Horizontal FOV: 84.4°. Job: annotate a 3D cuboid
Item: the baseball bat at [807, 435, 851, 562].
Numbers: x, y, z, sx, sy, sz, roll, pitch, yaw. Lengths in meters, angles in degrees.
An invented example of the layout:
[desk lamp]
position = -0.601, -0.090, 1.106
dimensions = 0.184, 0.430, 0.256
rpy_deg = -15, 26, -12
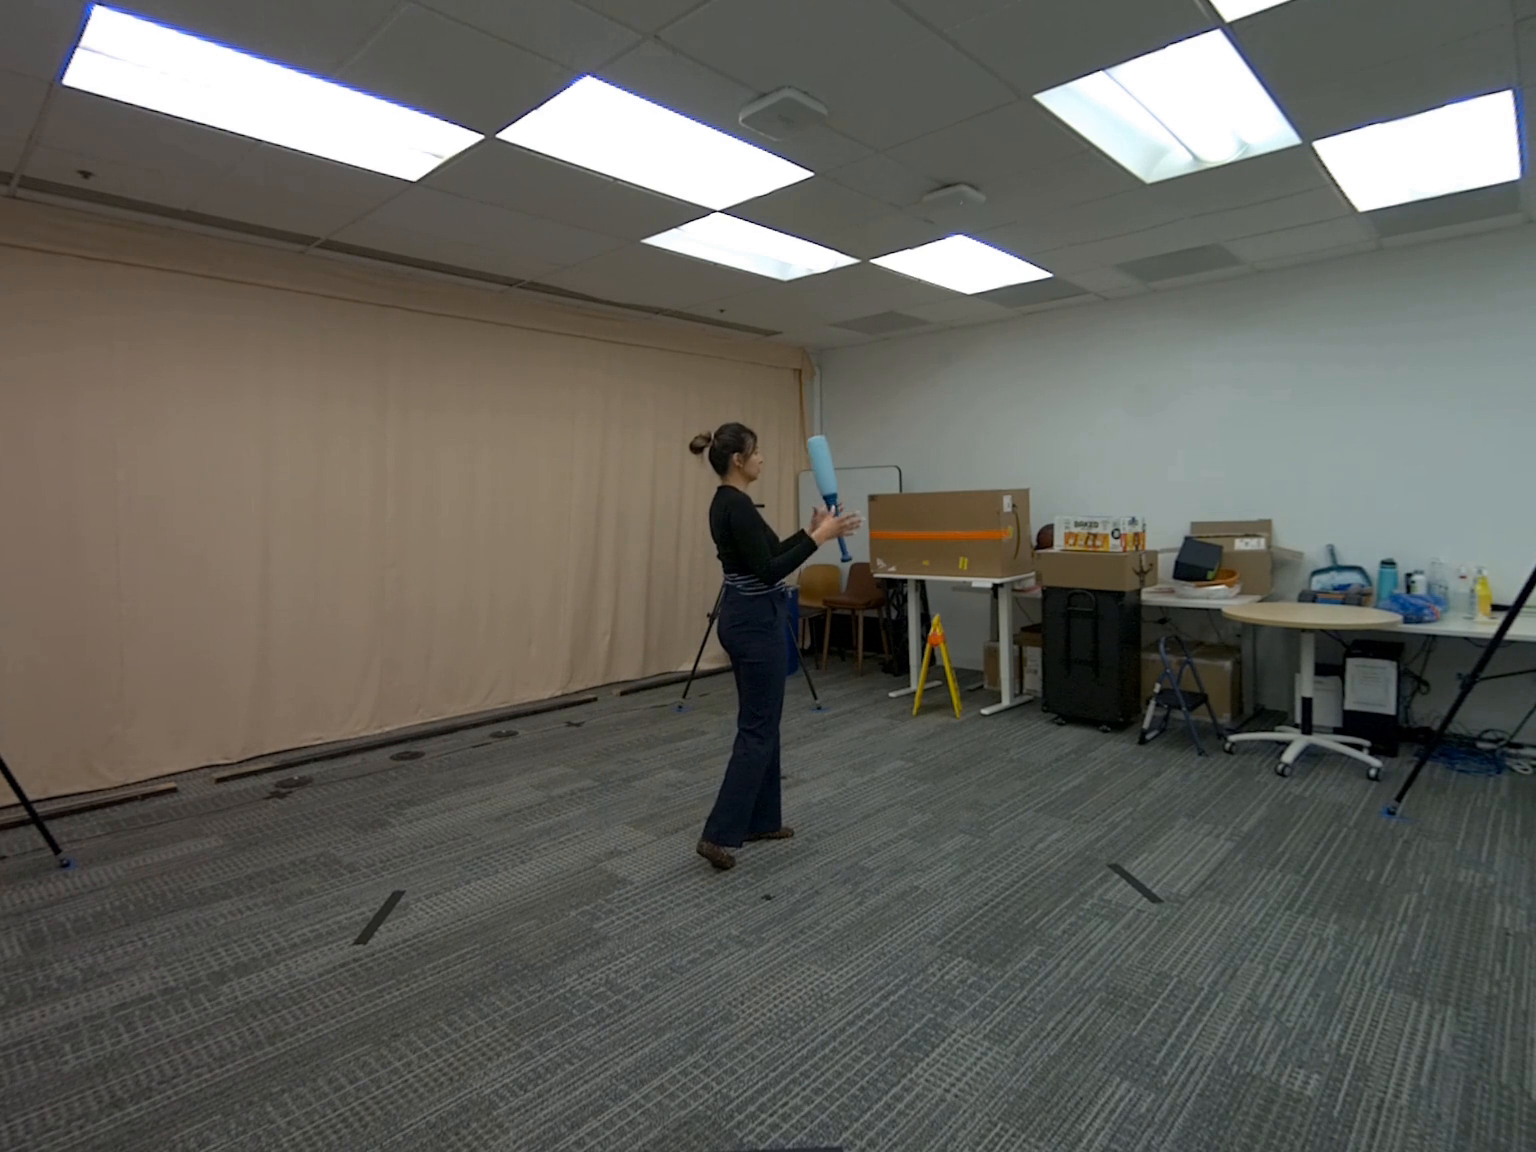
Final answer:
[baseball bat]
position = 0.277, -0.294, 3.532
dimensions = 0.089, 0.546, 0.089
rpy_deg = -13, -6, -3
